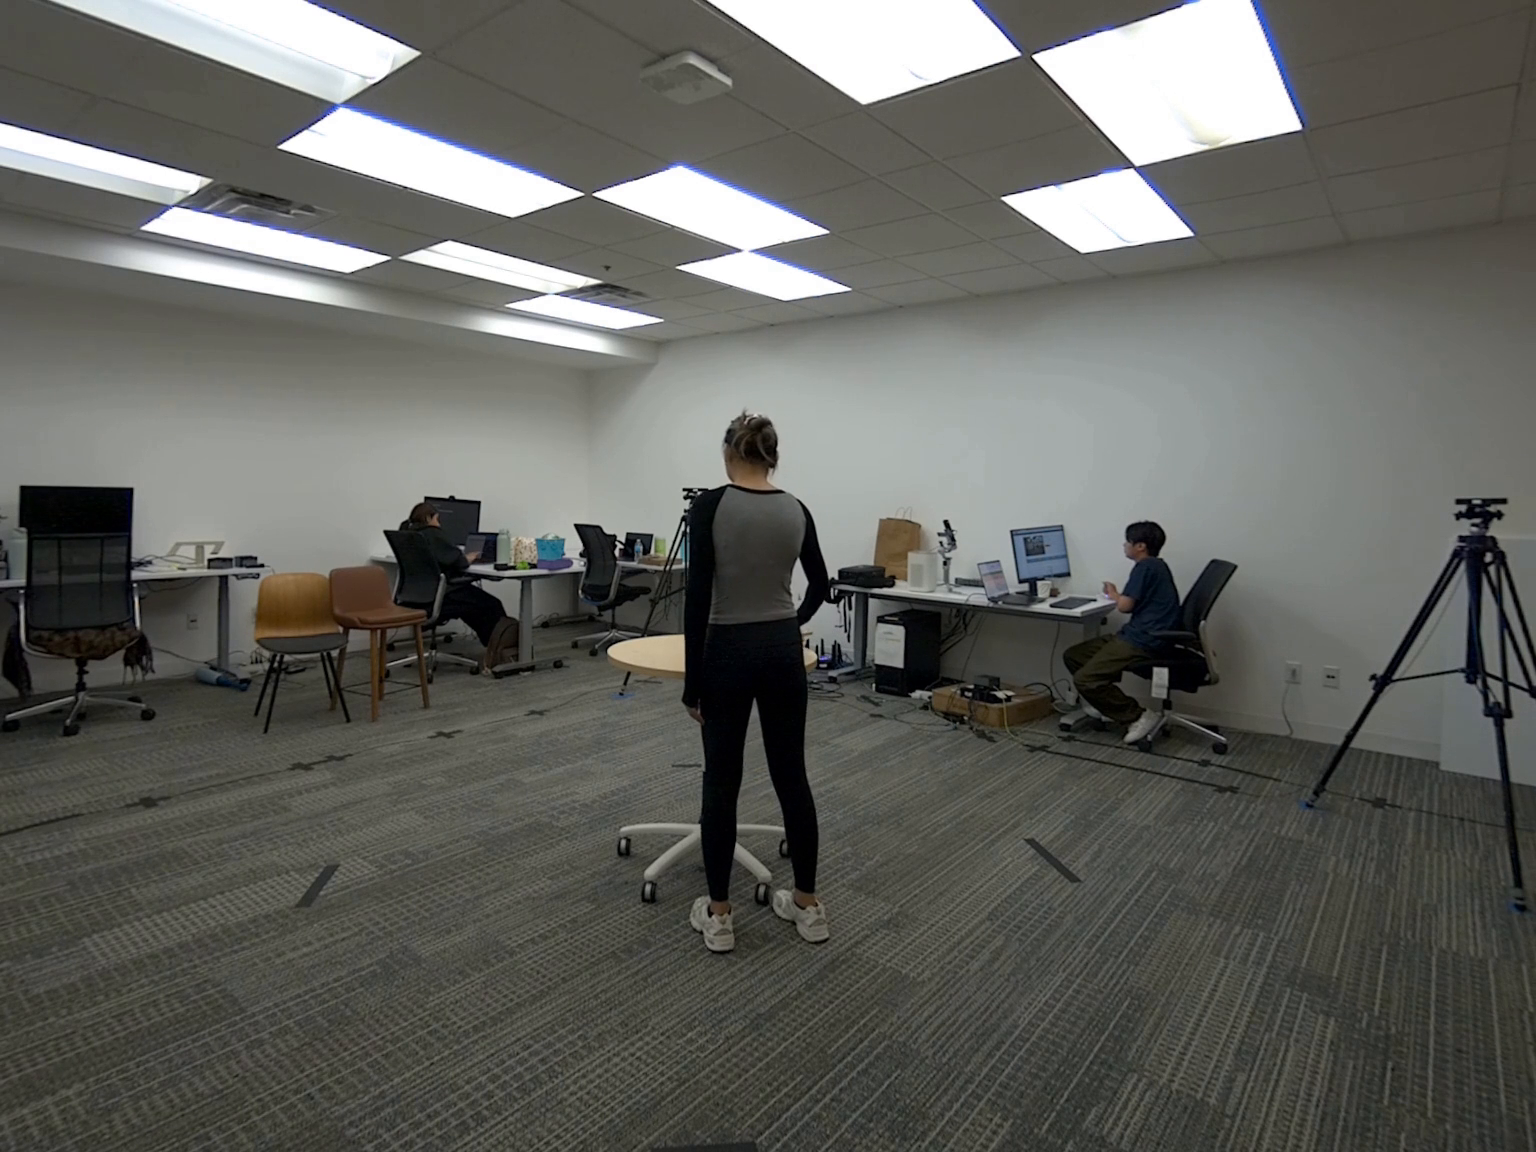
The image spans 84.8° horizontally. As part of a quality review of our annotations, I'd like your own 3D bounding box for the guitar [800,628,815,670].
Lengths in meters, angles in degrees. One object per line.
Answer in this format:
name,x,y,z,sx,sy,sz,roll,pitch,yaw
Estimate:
guitar,0.003,0.255,3.081,0.483,0.070,0.200,-2,7,-38
